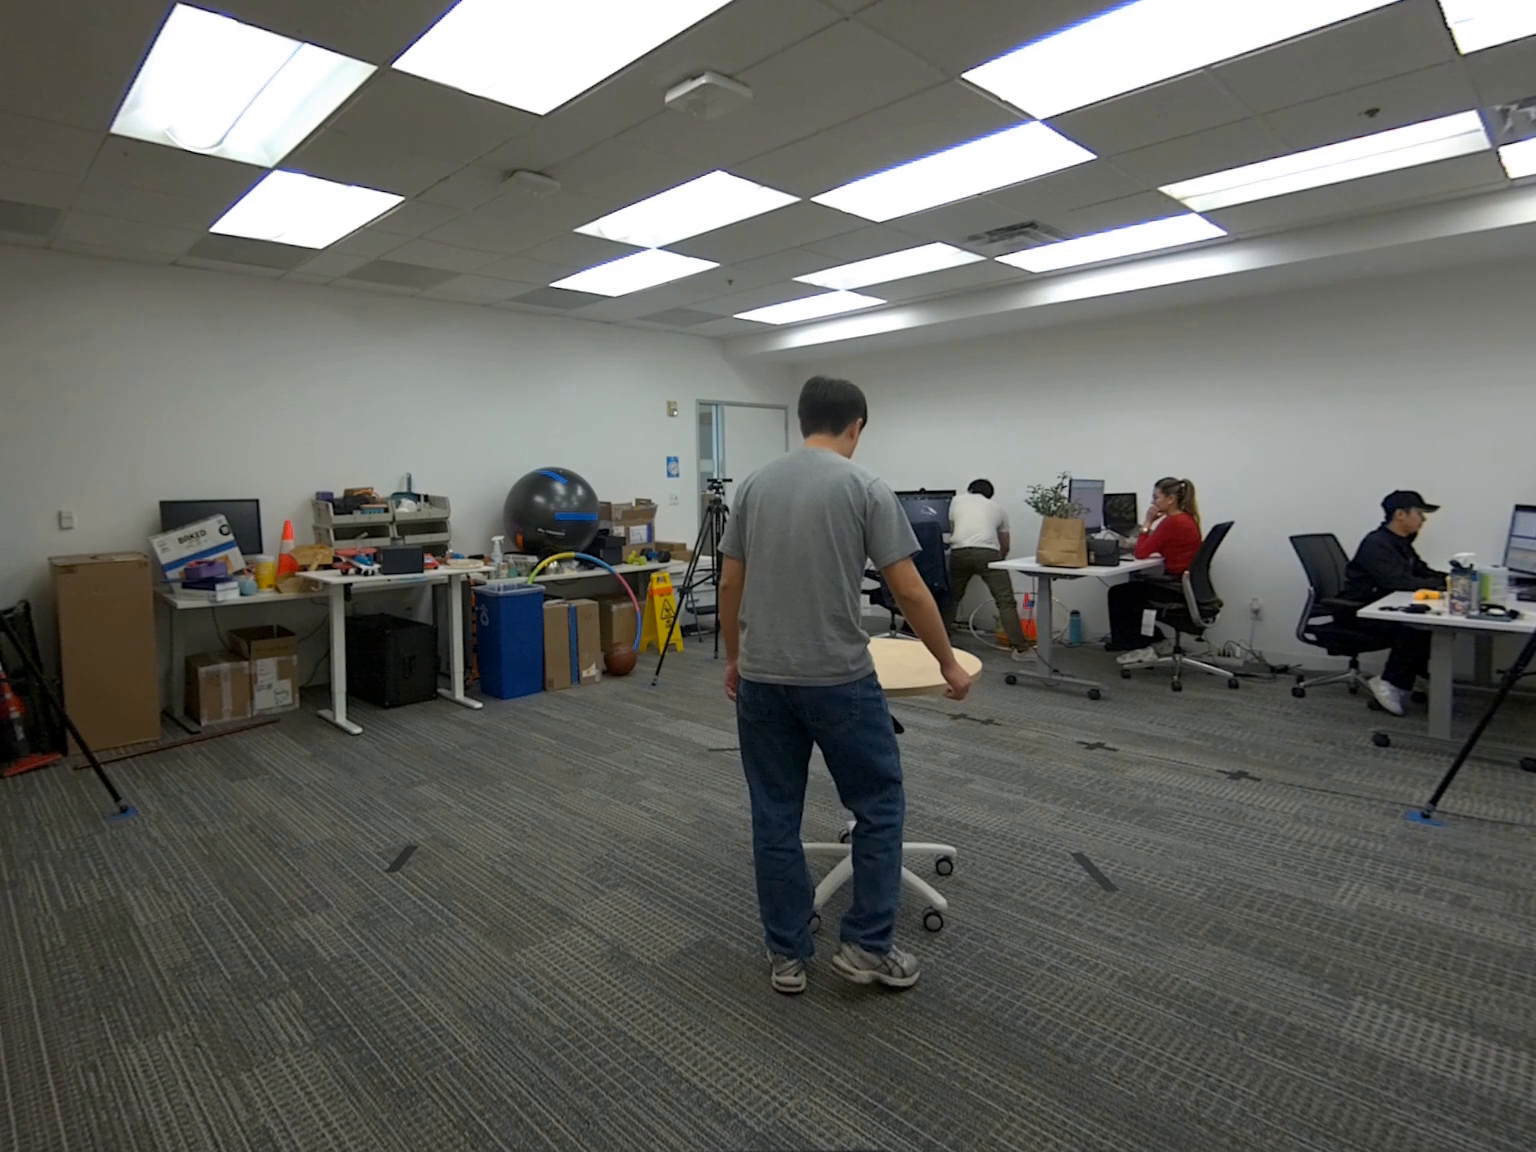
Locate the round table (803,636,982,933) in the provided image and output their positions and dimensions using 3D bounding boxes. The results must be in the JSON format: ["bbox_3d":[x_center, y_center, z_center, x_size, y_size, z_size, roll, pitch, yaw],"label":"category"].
[{"bbox_3d":[0.328,0.673,2.890,0.763,0.790,0.768,-1,5,-2],"label":"round table"}]
